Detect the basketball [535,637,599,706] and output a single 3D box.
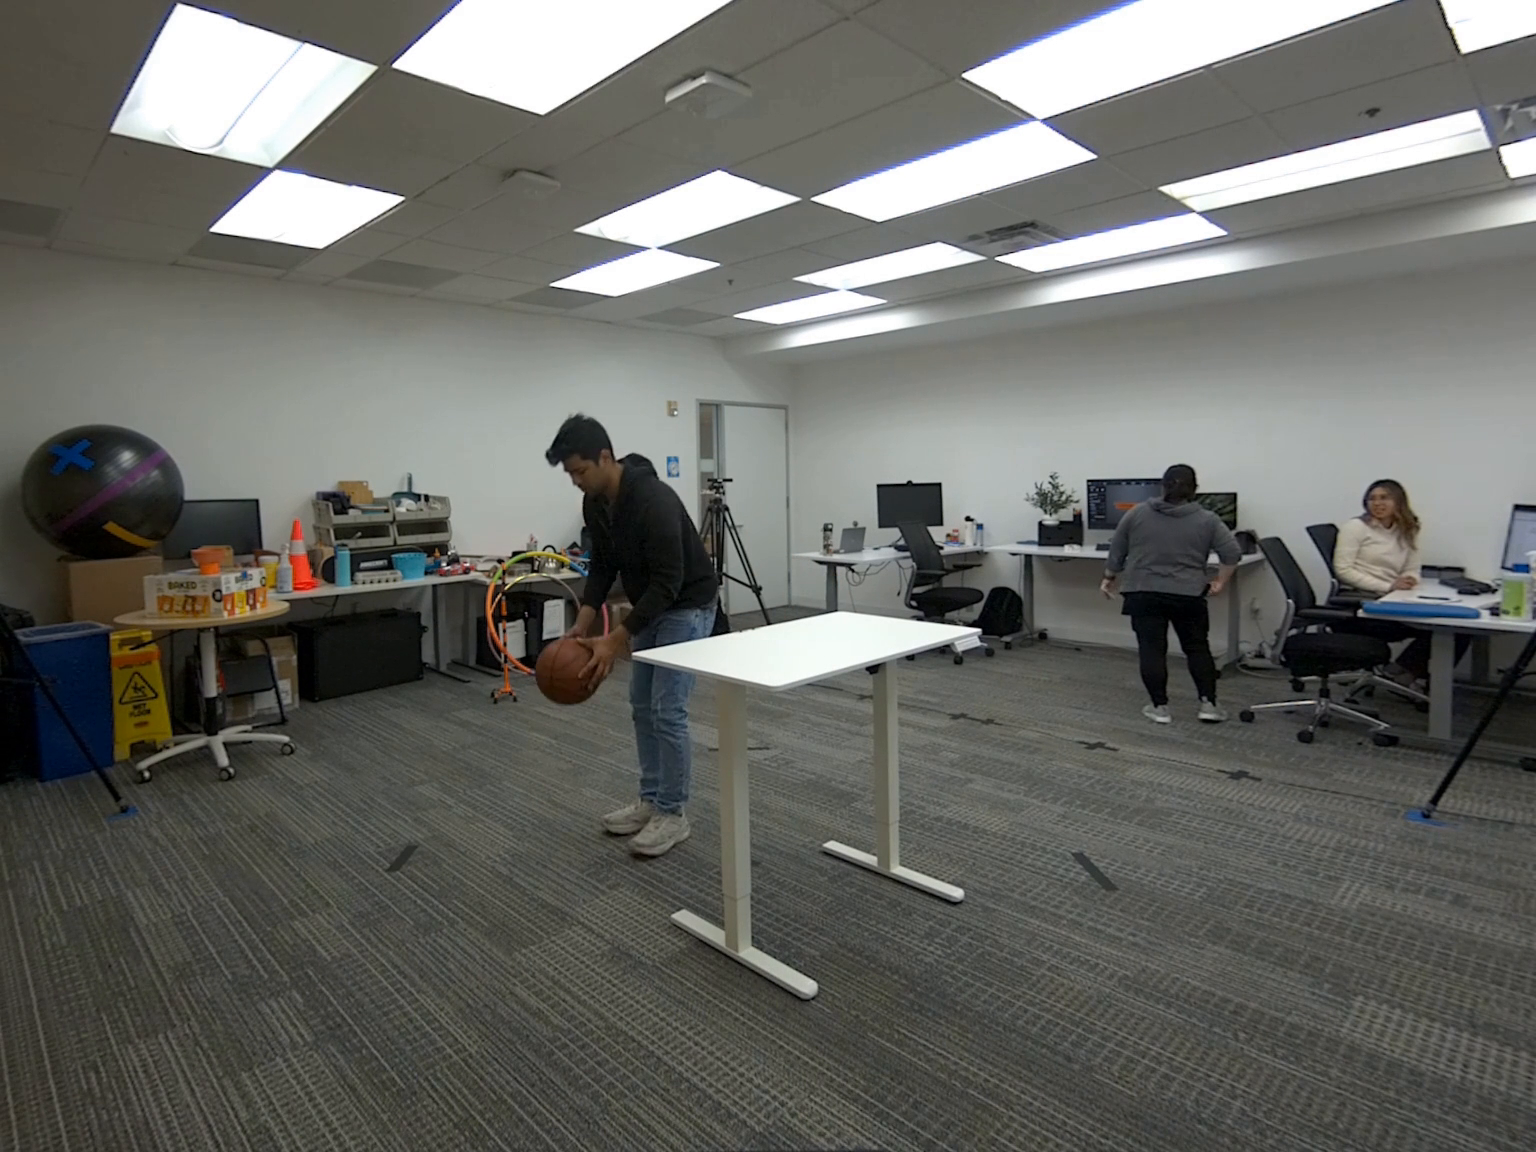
[{"bbox_3d":[-0.695,0.342,3.054,0.236,0.235,0.237,-1,5,-2],"label":"basketball"}]
